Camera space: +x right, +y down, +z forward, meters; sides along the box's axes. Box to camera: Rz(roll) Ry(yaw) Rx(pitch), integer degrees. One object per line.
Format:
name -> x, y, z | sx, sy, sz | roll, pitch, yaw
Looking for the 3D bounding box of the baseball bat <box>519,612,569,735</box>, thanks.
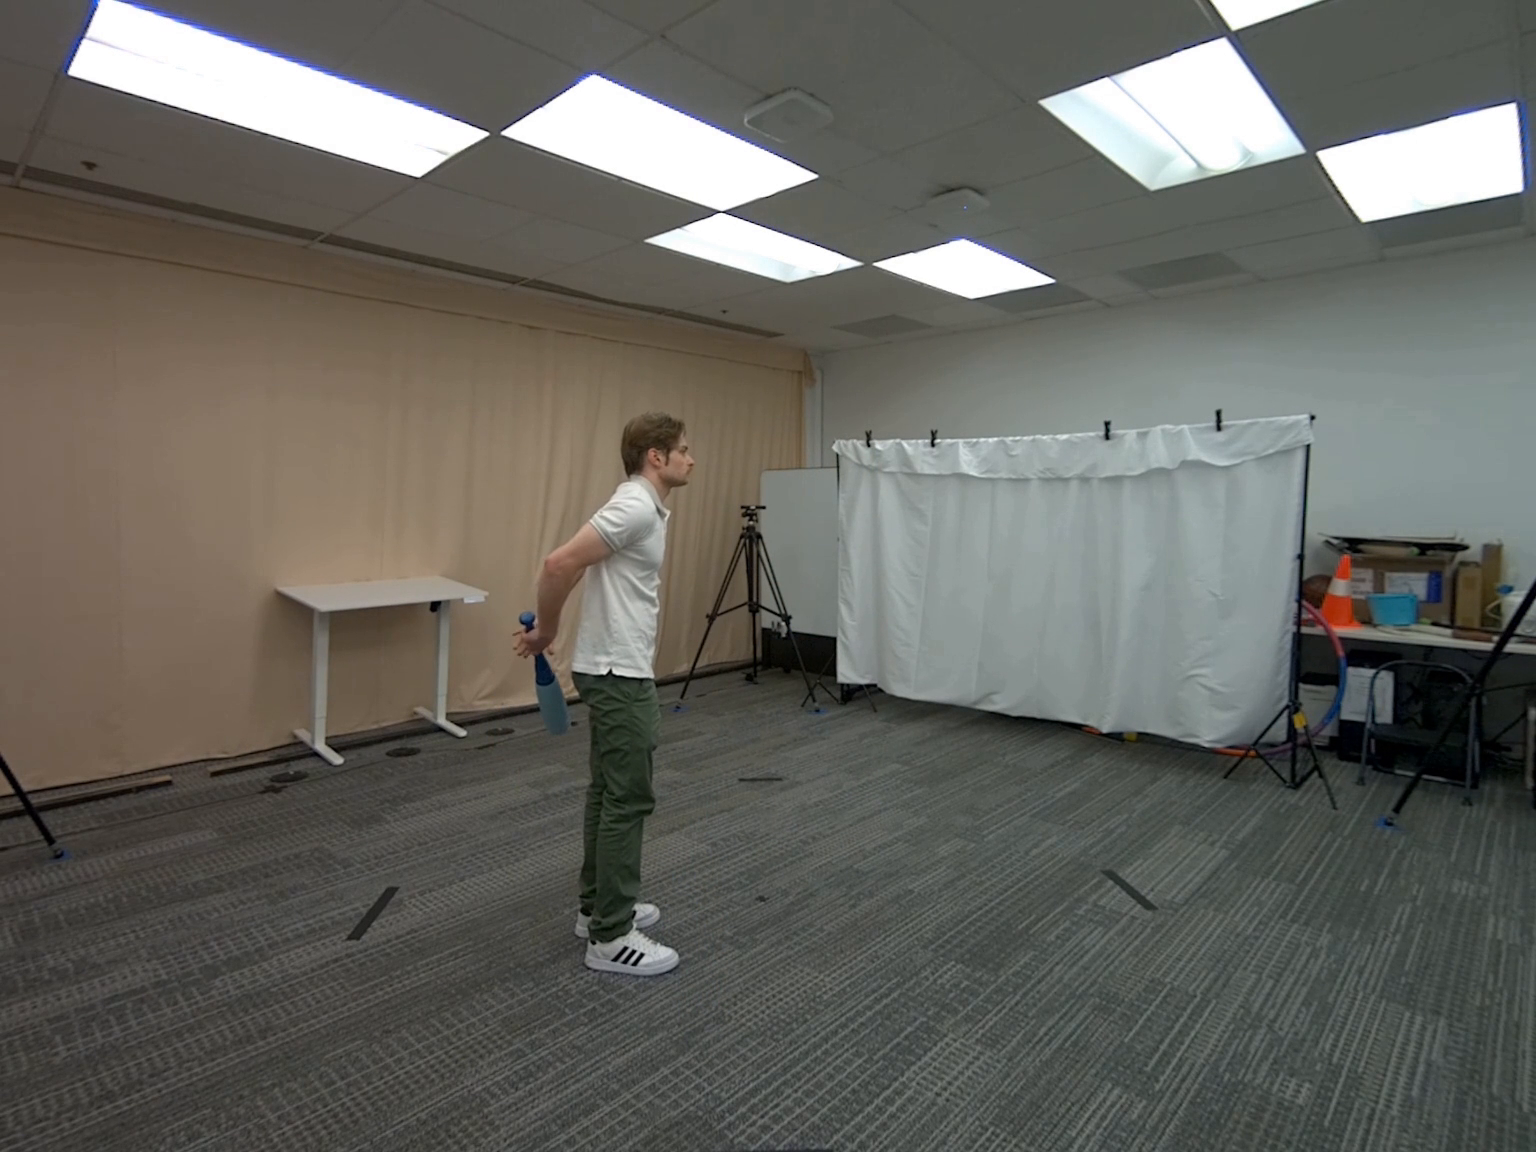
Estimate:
baseball bat -> -0.746, 0.323, 2.799 | 0.089, 0.532, 0.091 | -1, 38, -1
